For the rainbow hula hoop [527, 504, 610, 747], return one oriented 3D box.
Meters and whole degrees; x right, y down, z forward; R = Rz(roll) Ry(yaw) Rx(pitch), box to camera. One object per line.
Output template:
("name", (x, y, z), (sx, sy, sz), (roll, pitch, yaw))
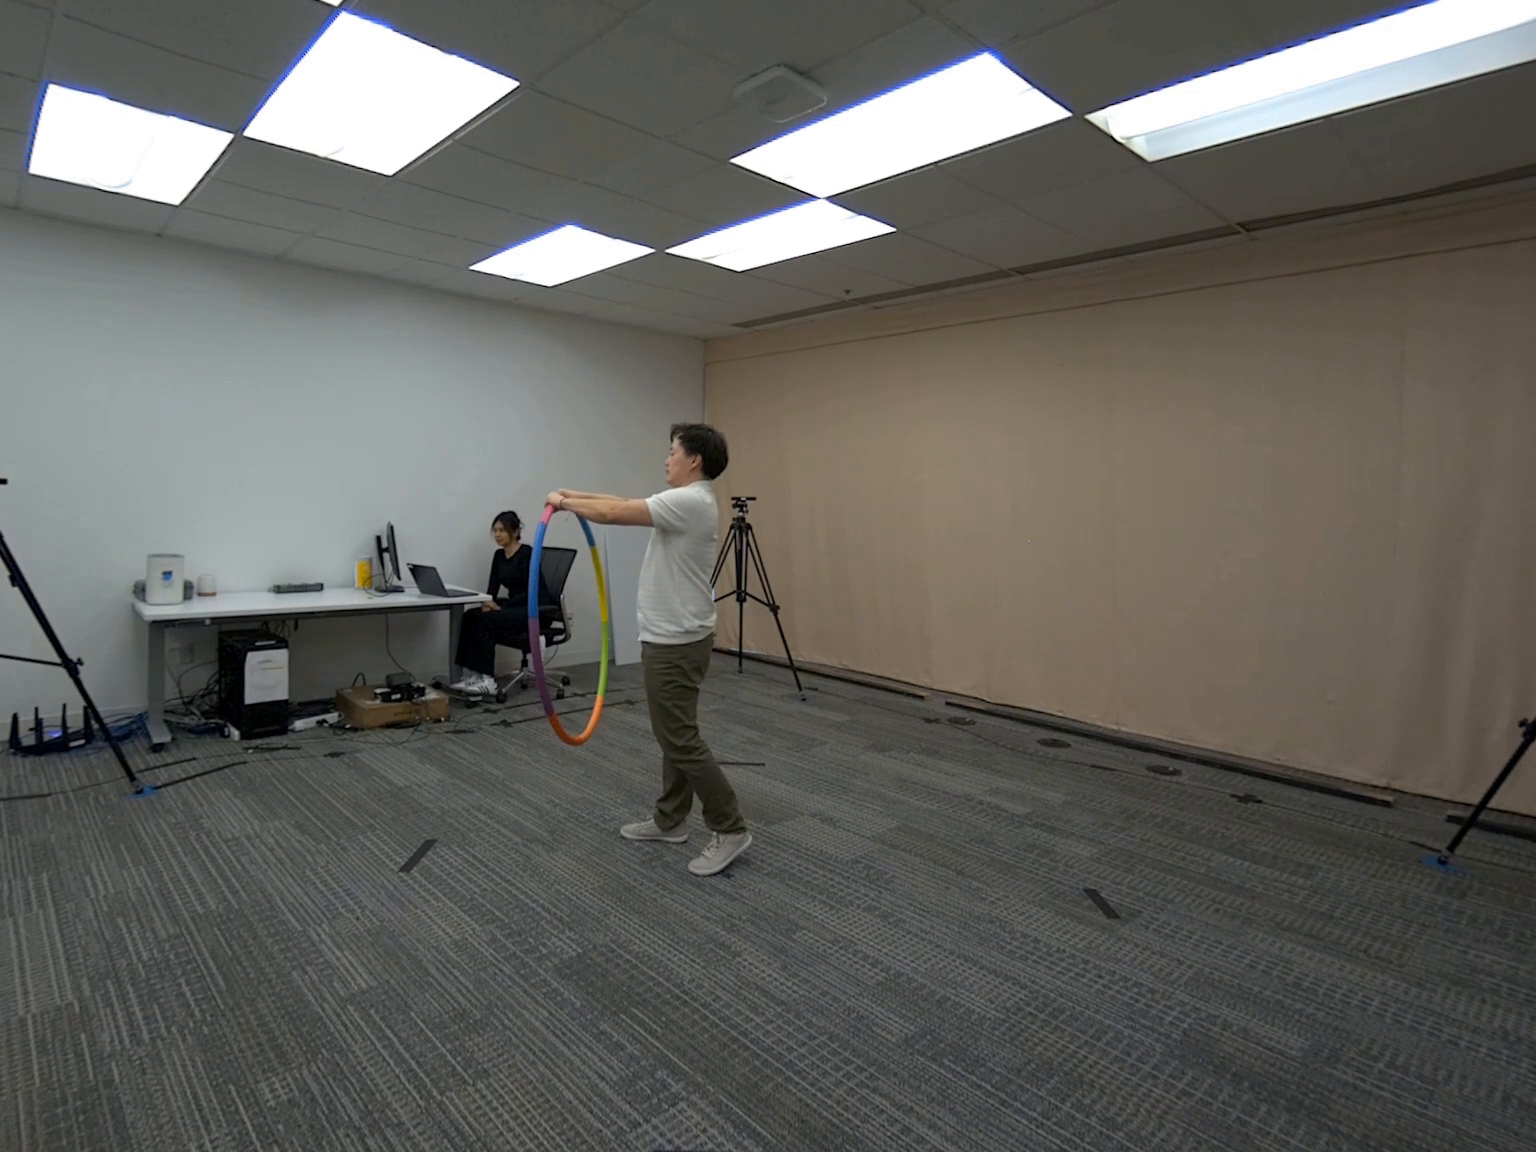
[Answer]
("rainbow hula hoop", (-0.796, 0.180, 3.402), (0.036, 0.976, 0.977), (-5, 4, 4))
